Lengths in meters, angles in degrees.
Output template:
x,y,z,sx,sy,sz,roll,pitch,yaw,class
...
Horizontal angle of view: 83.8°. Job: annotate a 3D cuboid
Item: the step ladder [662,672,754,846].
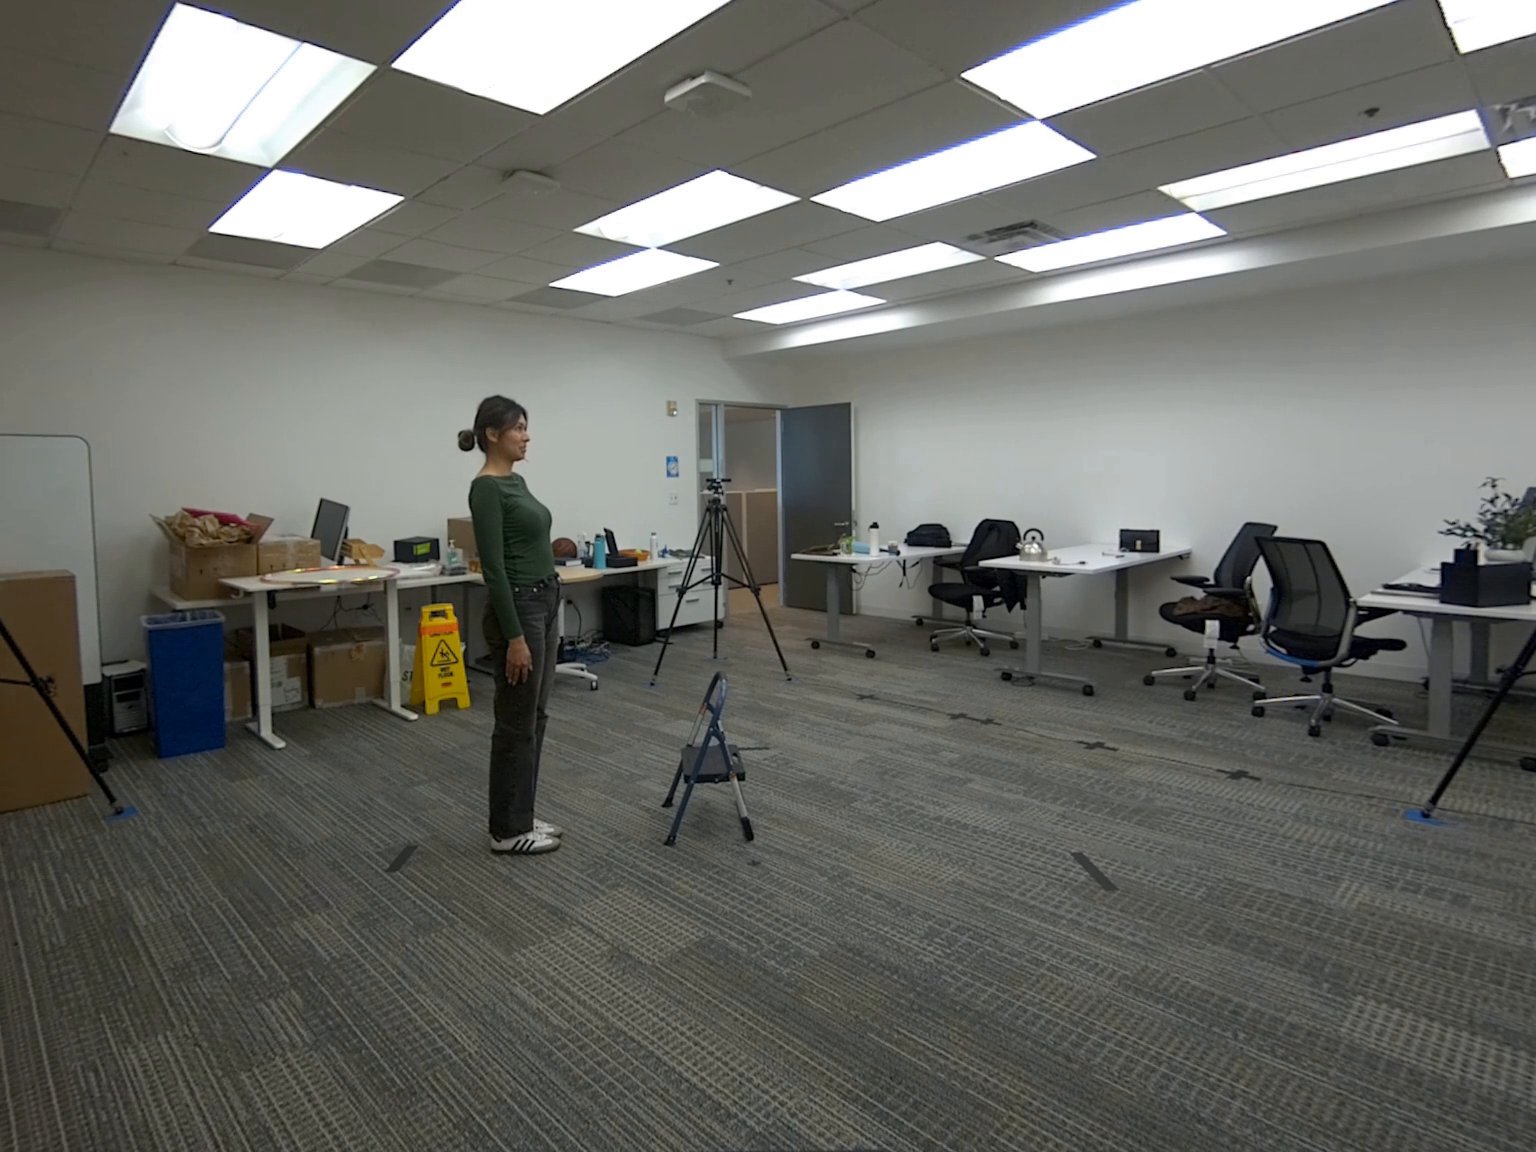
x,y,z,sx,sy,sz,roll,pitch,yaw,class
-0.250,0.709,3.469,0.347,0.604,0.435,-2,4,-8,step ladder
